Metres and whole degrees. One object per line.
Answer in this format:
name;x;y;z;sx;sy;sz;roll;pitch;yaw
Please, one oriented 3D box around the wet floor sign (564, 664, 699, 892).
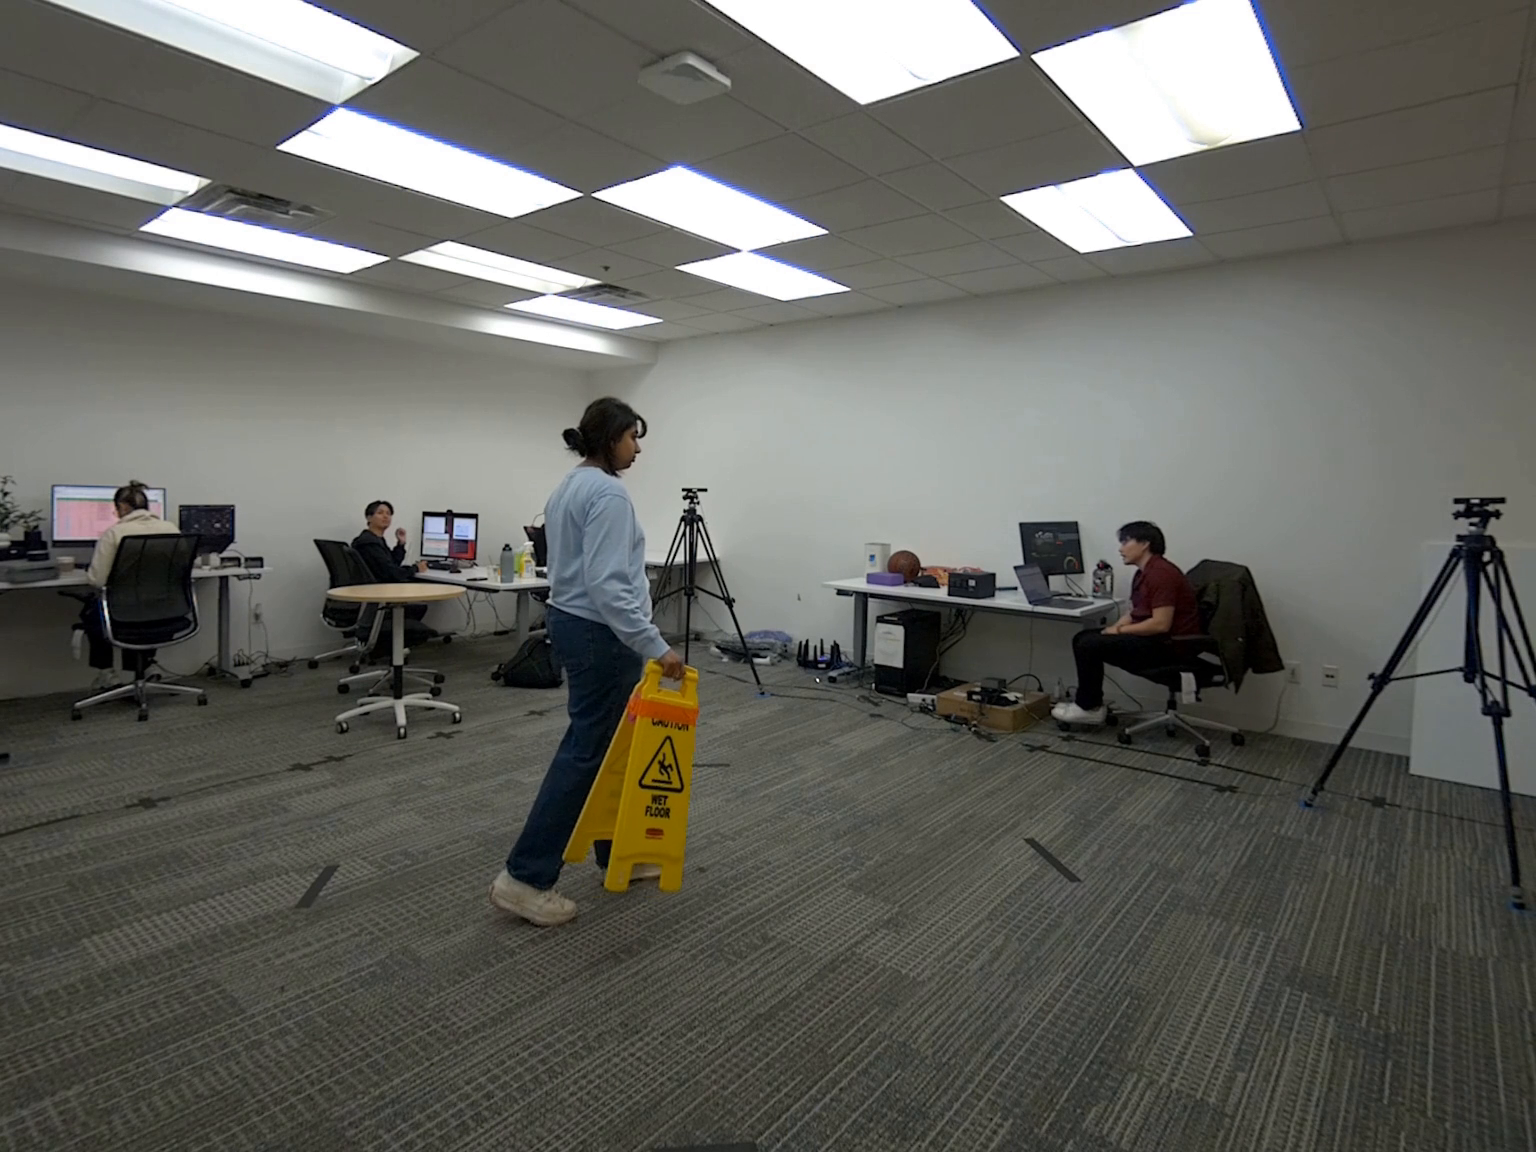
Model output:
wet floor sign;-0.374;0.585;2.607;0.271;0.650;0.300;20;-10;-42
